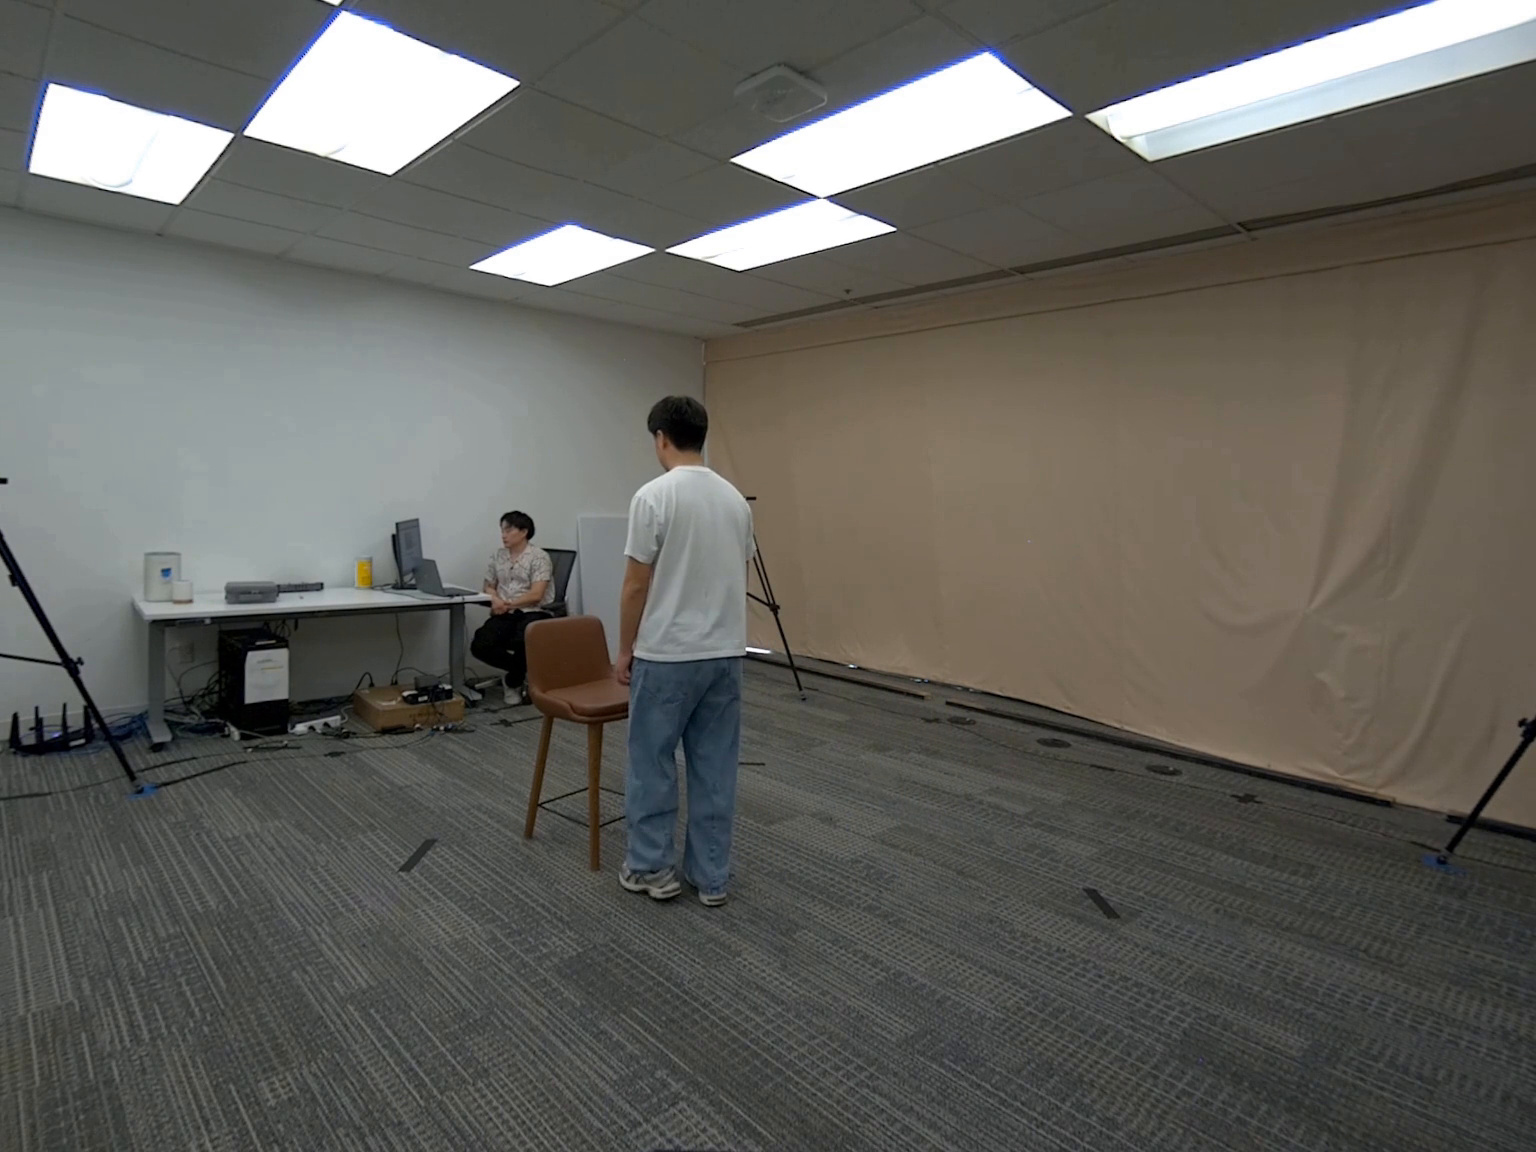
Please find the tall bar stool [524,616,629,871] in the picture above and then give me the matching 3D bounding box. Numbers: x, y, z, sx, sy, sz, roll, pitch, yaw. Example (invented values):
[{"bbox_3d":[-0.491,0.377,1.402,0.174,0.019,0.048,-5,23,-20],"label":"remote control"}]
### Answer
[{"bbox_3d":[-0.700,0.632,3.392,0.478,0.889,0.446,1,2,39],"label":"tall bar stool"}]
